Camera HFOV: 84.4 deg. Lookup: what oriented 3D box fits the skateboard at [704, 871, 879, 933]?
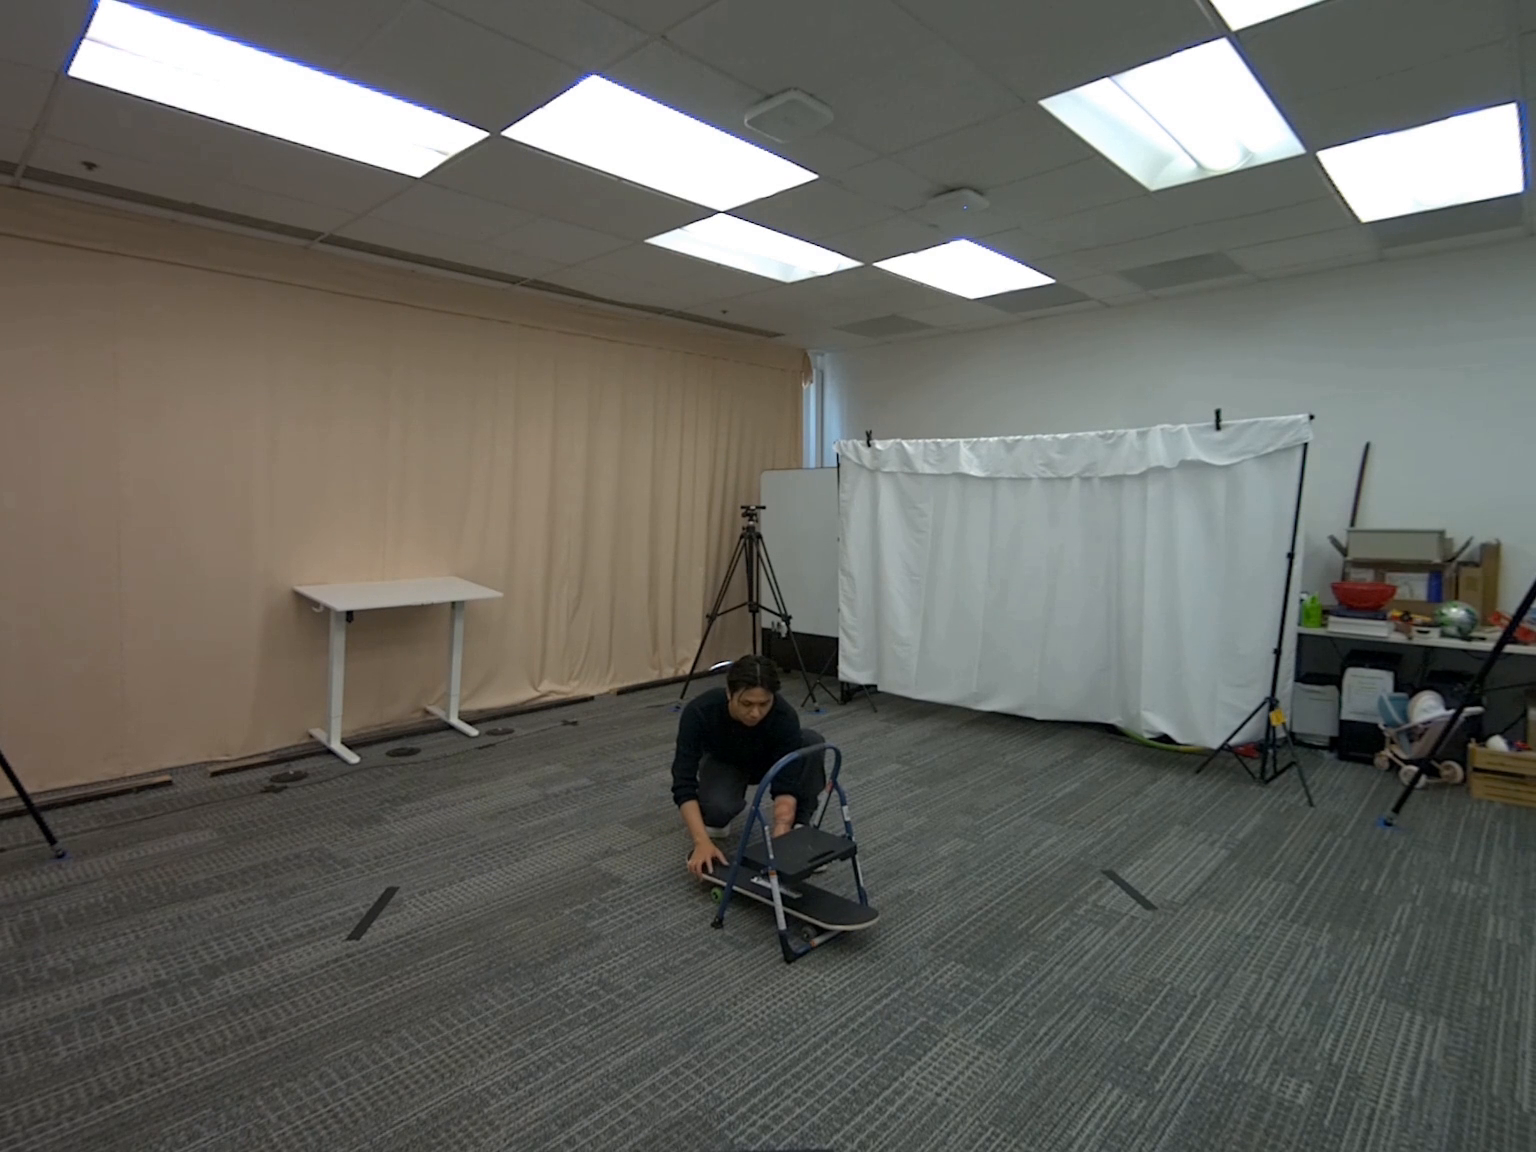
[{"bbox_3d":[0.037,1.088,2.891,0.812,0.110,0.187,4,6,42],"label":"skateboard"}]
